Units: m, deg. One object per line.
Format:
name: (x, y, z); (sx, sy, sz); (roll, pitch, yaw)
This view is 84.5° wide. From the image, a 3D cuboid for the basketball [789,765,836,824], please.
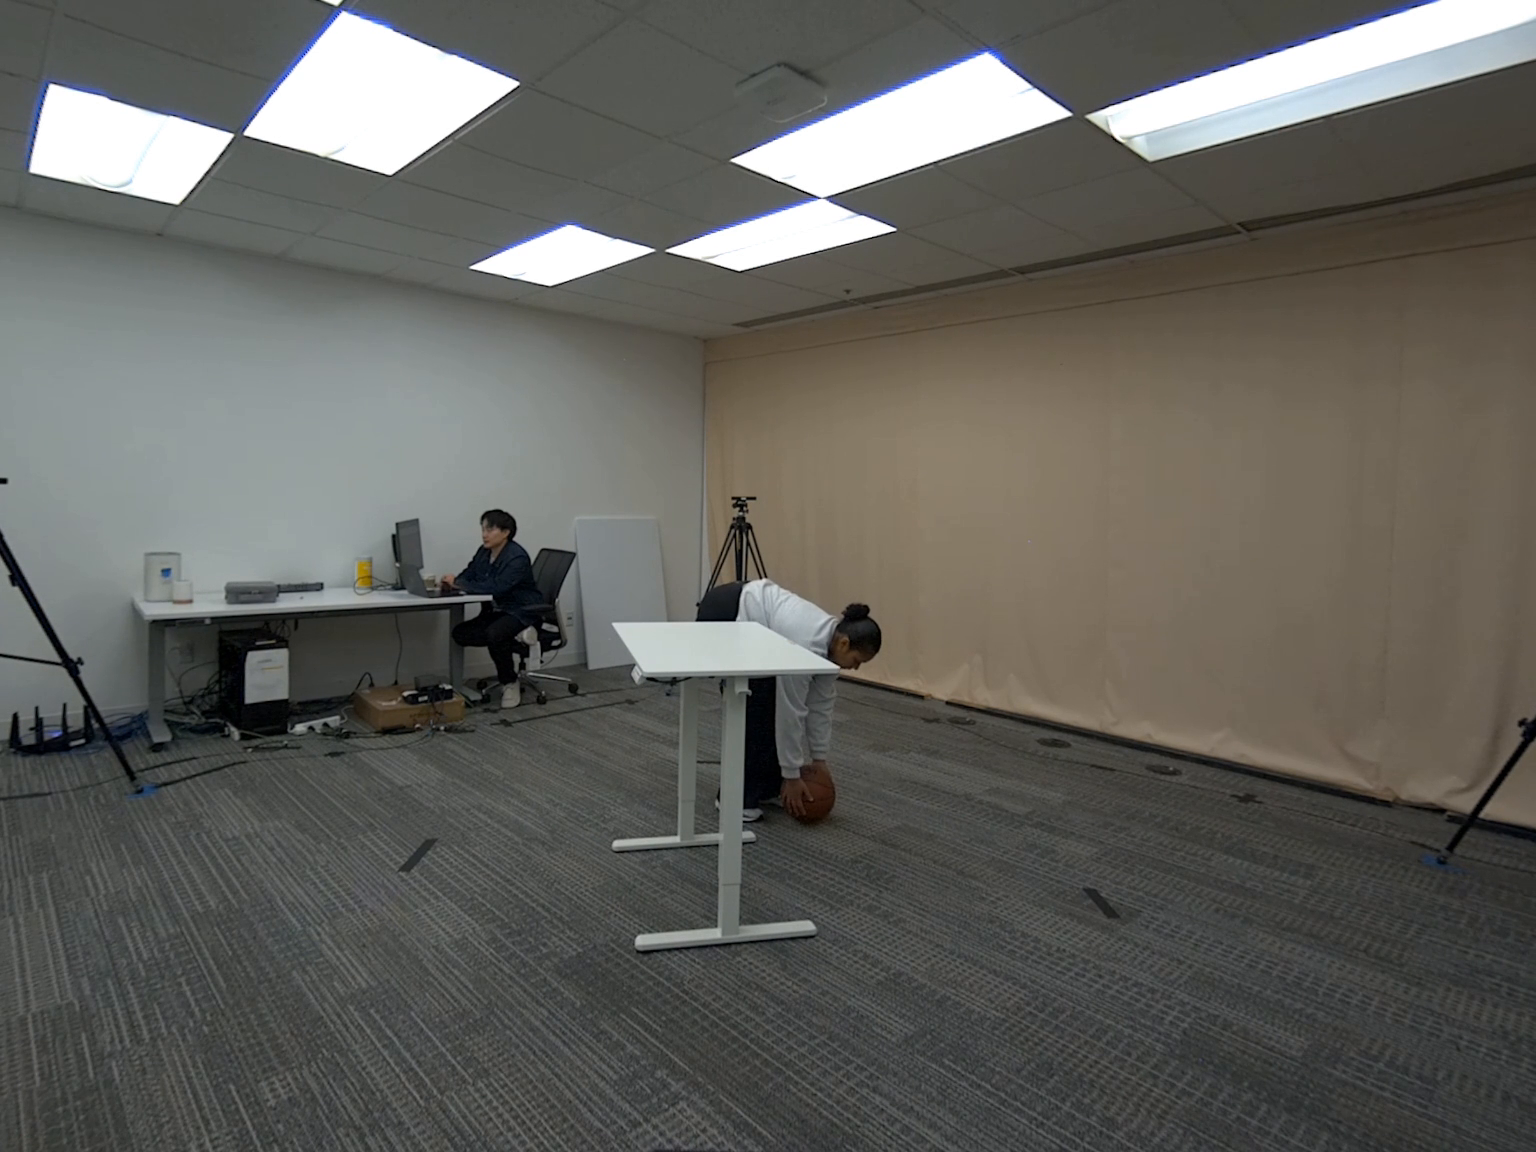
basketball: (0.165, 0.918, 3.628); (0.236, 0.235, 0.237); (1, 4, -1)
